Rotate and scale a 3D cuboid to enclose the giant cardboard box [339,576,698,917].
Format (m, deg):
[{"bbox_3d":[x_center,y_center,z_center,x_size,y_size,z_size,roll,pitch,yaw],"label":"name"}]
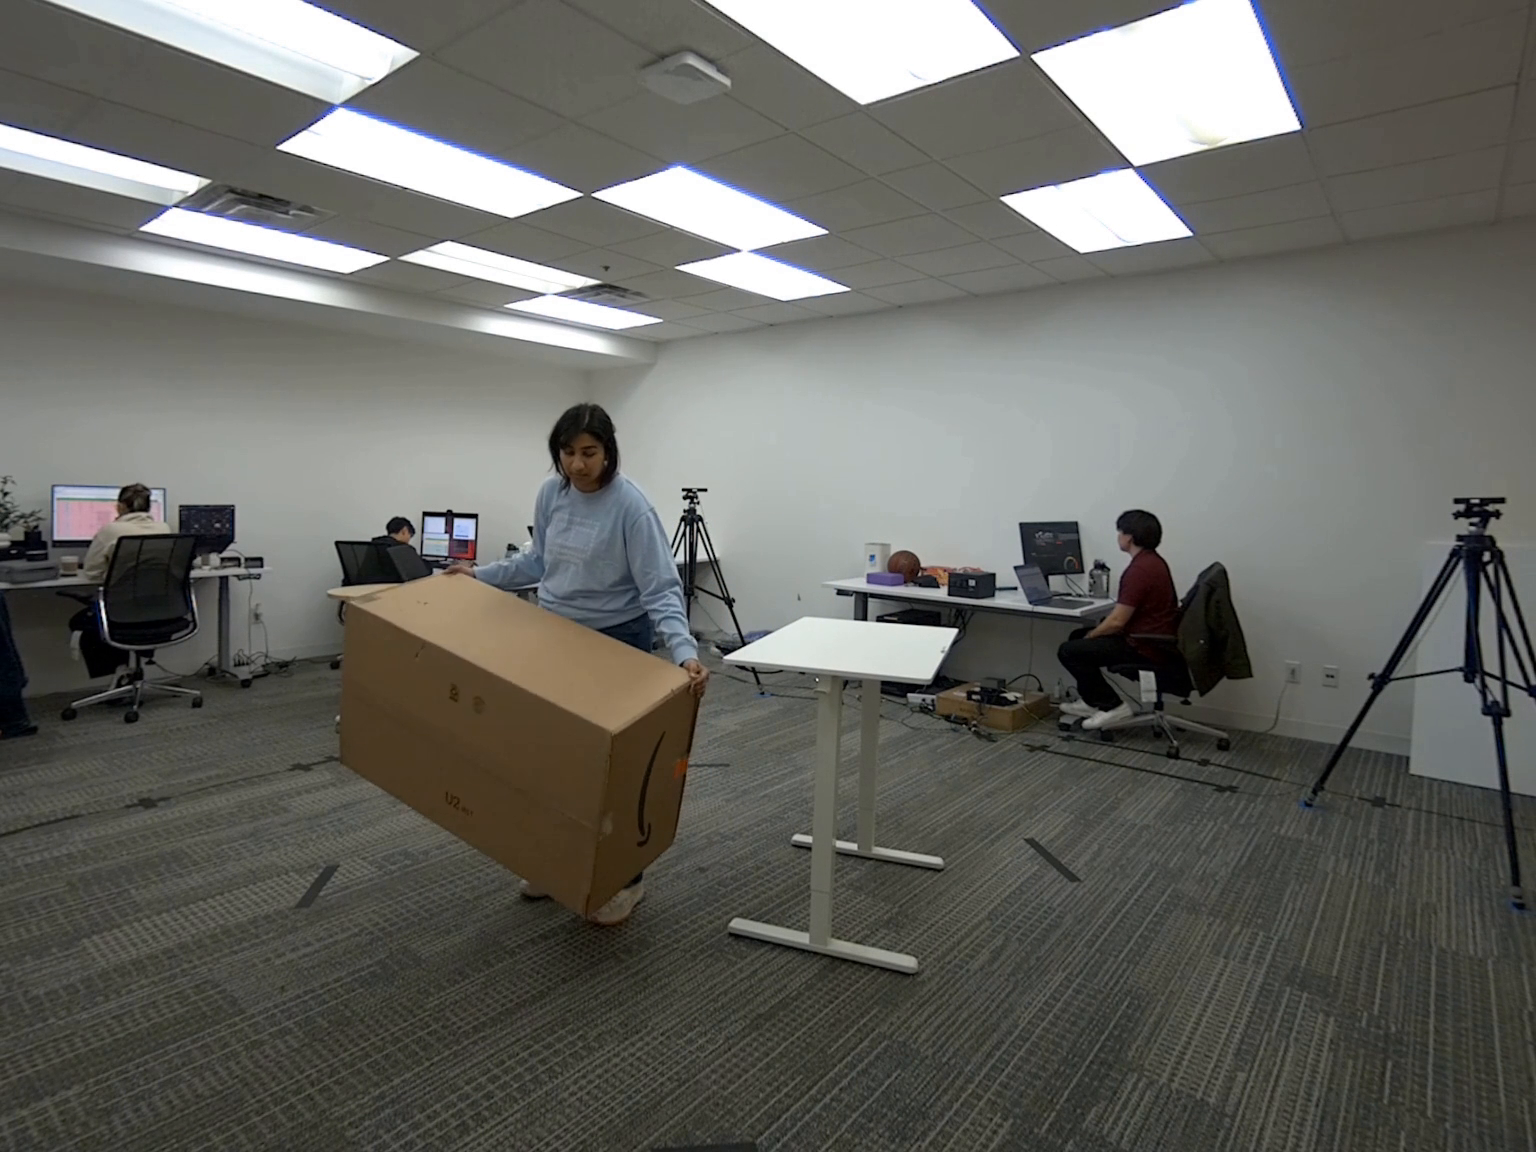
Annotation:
[{"bbox_3d":[-0.786,0.445,2.571,1.058,0.570,0.419,20,20,25],"label":"giant cardboard box"}]
